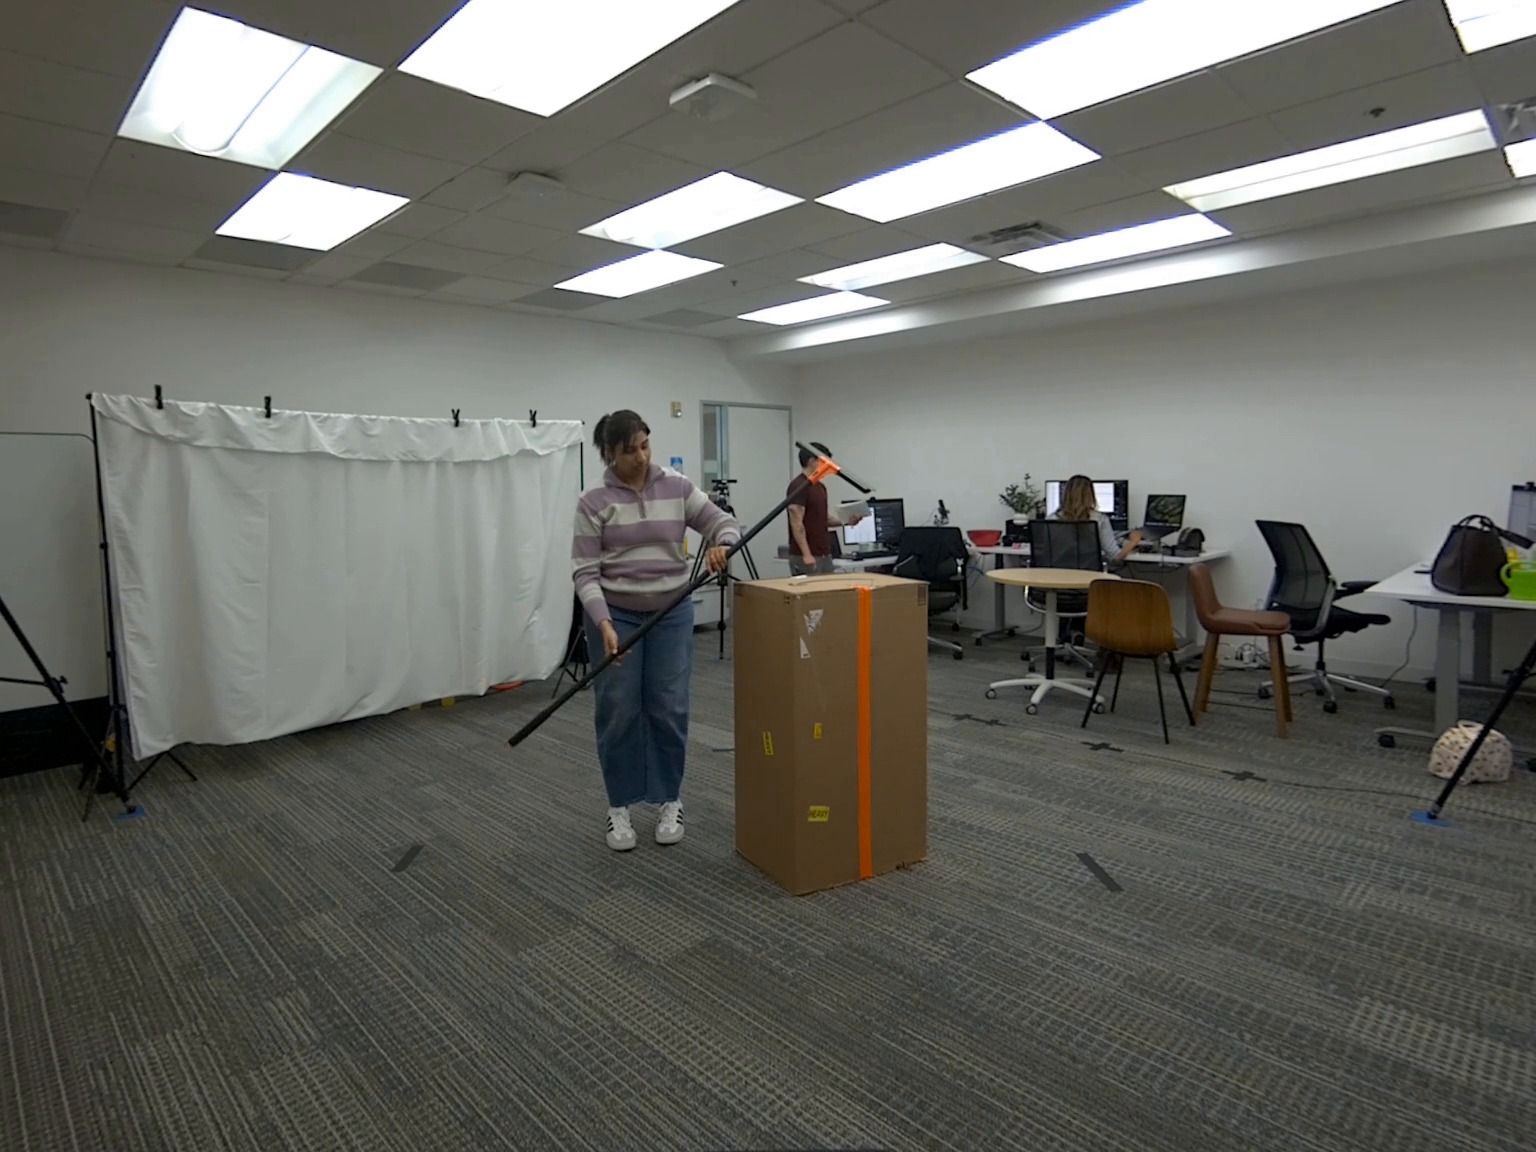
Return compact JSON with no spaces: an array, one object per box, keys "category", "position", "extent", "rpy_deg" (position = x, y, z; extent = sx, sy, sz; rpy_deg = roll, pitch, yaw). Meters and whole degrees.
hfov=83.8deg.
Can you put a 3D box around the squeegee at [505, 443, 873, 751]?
[{"category":"squeegee","position":[-0.334,0.105,2.982],"extent":[0.455,1.536,0.051],"rpy_deg":[44,-6,45]}]
